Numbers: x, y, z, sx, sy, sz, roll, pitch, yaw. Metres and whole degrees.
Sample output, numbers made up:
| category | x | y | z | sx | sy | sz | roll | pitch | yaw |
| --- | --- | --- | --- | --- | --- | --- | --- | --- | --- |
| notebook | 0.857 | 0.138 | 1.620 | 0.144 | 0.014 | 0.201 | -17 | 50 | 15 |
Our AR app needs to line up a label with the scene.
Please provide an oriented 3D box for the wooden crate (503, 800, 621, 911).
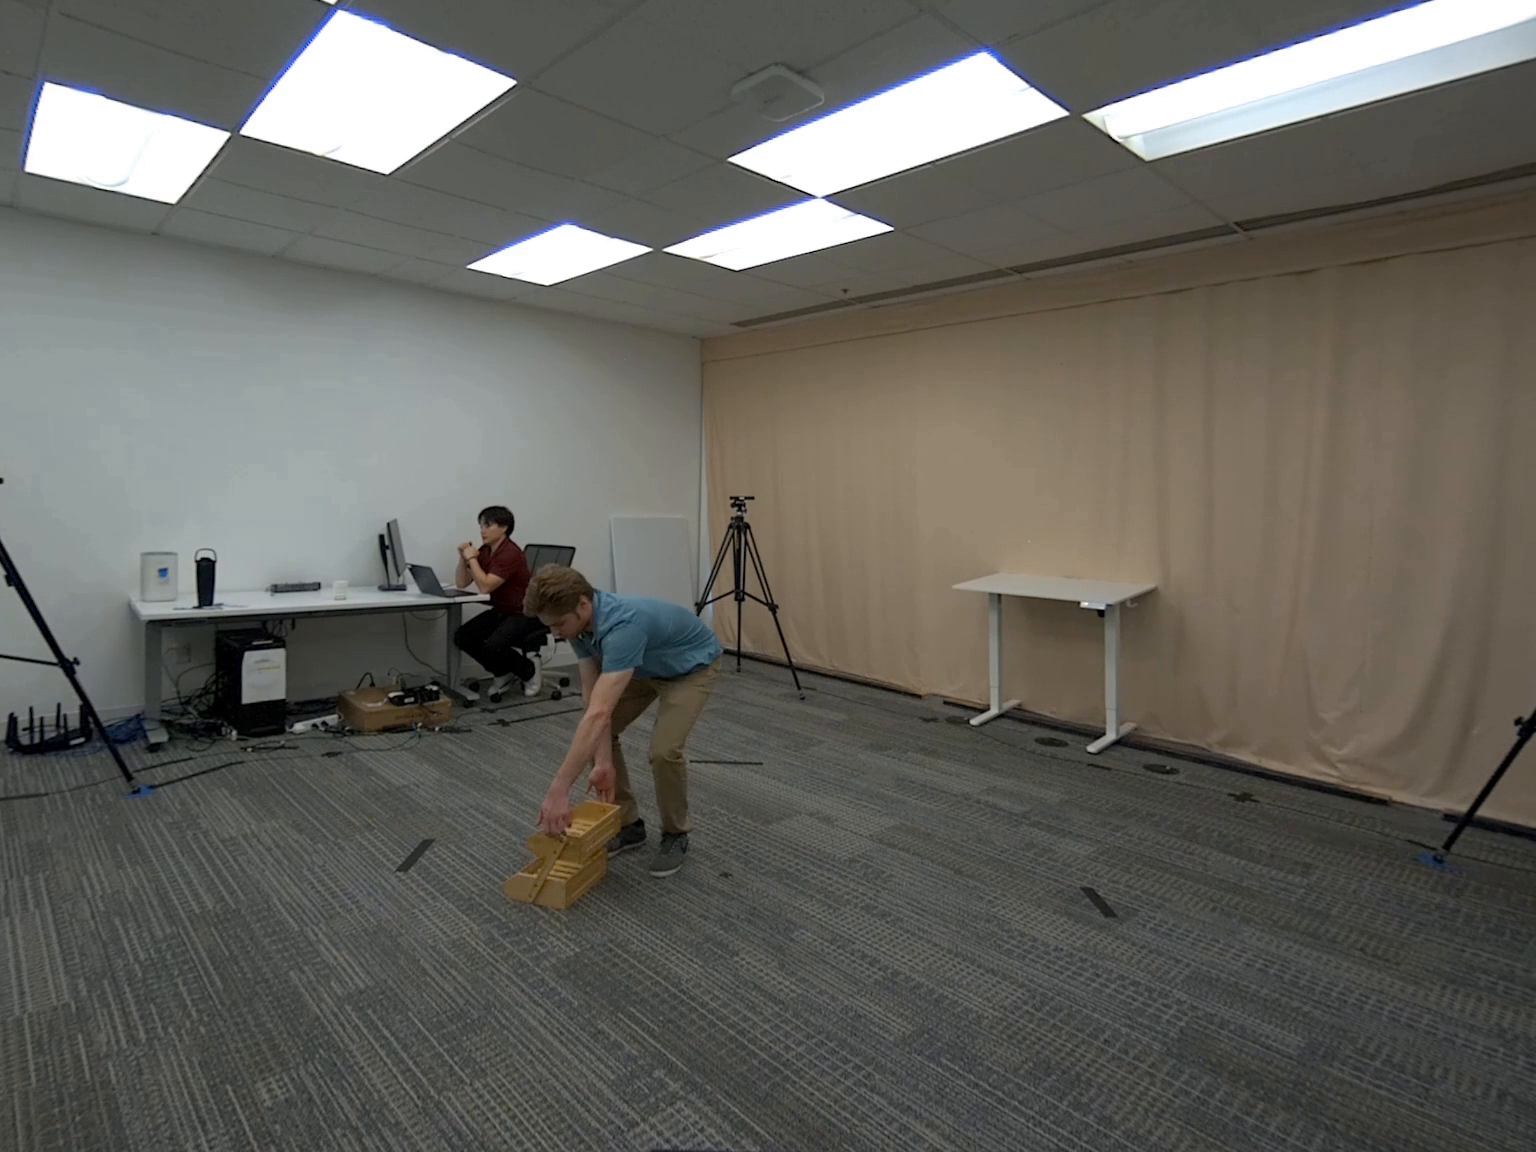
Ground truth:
| category | x | y | z | sx | sy | sz | roll | pitch | yaw |
| --- | --- | --- | --- | --- | --- | --- | --- | --- | --- |
| wooden crate | -0.743 | 0.972 | 2.980 | 0.306 | 0.272 | 0.320 | 4 | 4 | 17 |
